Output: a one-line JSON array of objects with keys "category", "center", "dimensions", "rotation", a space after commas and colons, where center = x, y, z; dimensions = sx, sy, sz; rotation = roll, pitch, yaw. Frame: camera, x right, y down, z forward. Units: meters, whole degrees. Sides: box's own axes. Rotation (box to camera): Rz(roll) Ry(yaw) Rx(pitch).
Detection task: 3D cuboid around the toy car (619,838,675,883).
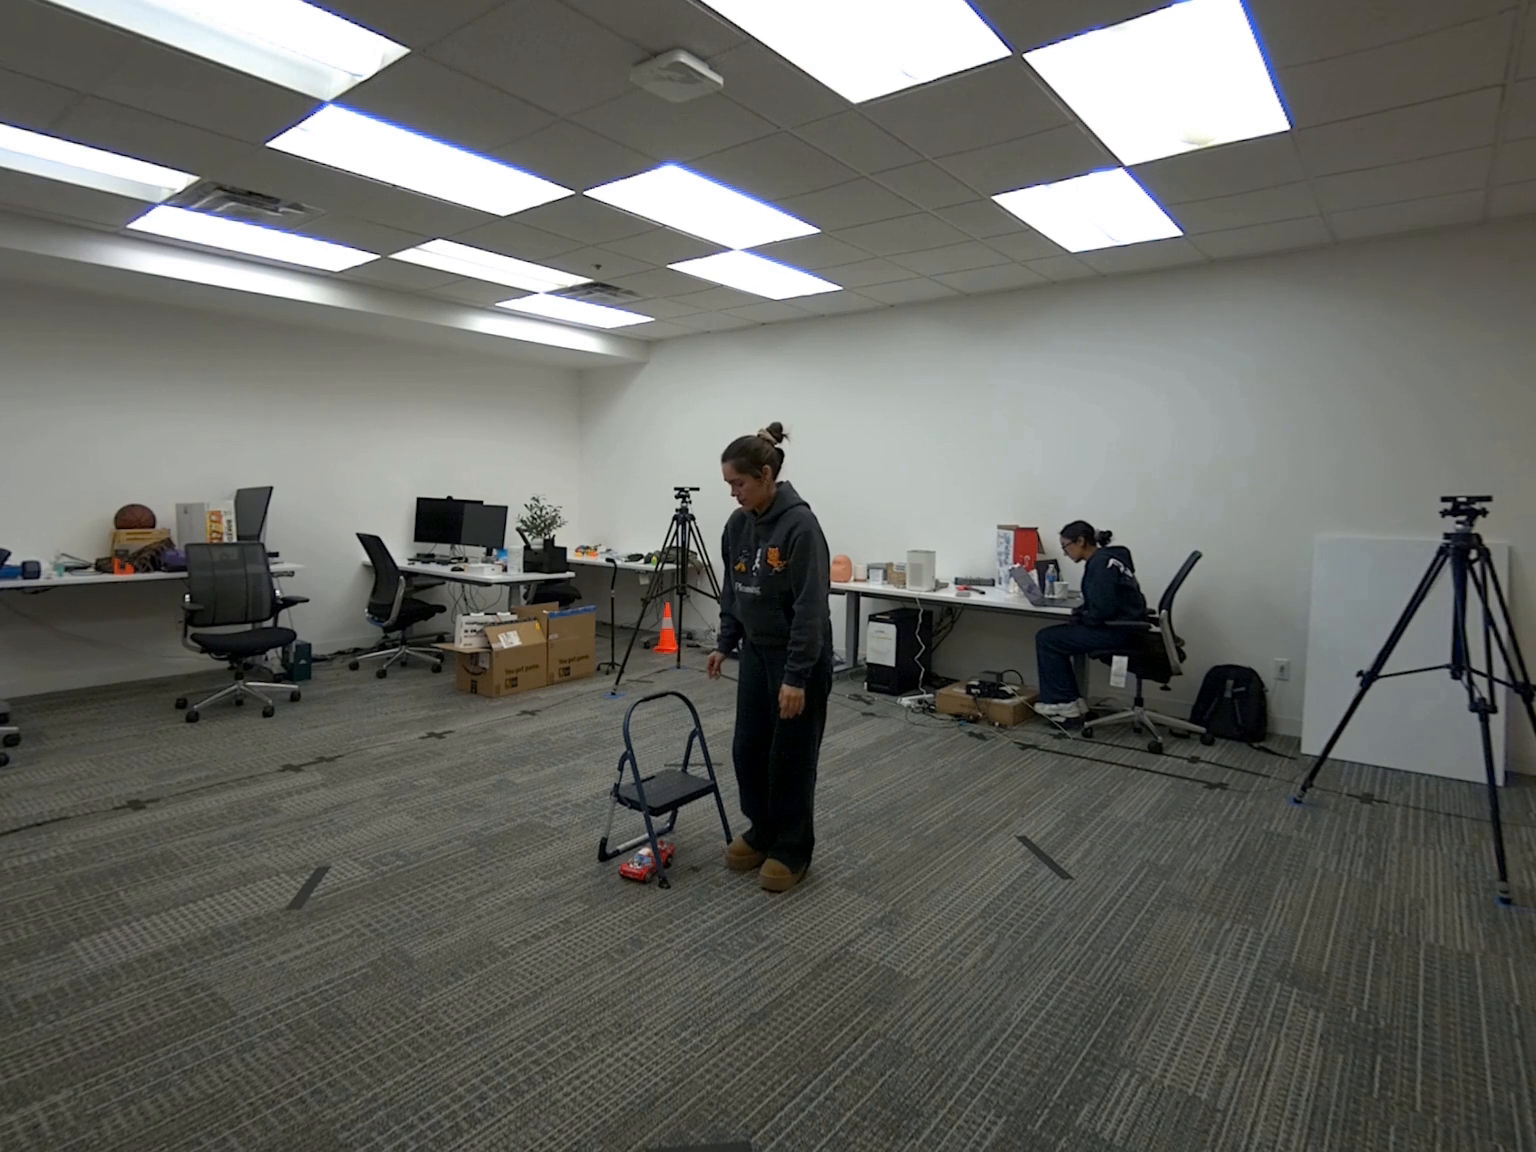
[{"category": "toy car", "center": [-0.431, 1.038, 3.106], "dimensions": [0.134, 0.082, 0.252], "rotation": [2, 17, 25]}]
